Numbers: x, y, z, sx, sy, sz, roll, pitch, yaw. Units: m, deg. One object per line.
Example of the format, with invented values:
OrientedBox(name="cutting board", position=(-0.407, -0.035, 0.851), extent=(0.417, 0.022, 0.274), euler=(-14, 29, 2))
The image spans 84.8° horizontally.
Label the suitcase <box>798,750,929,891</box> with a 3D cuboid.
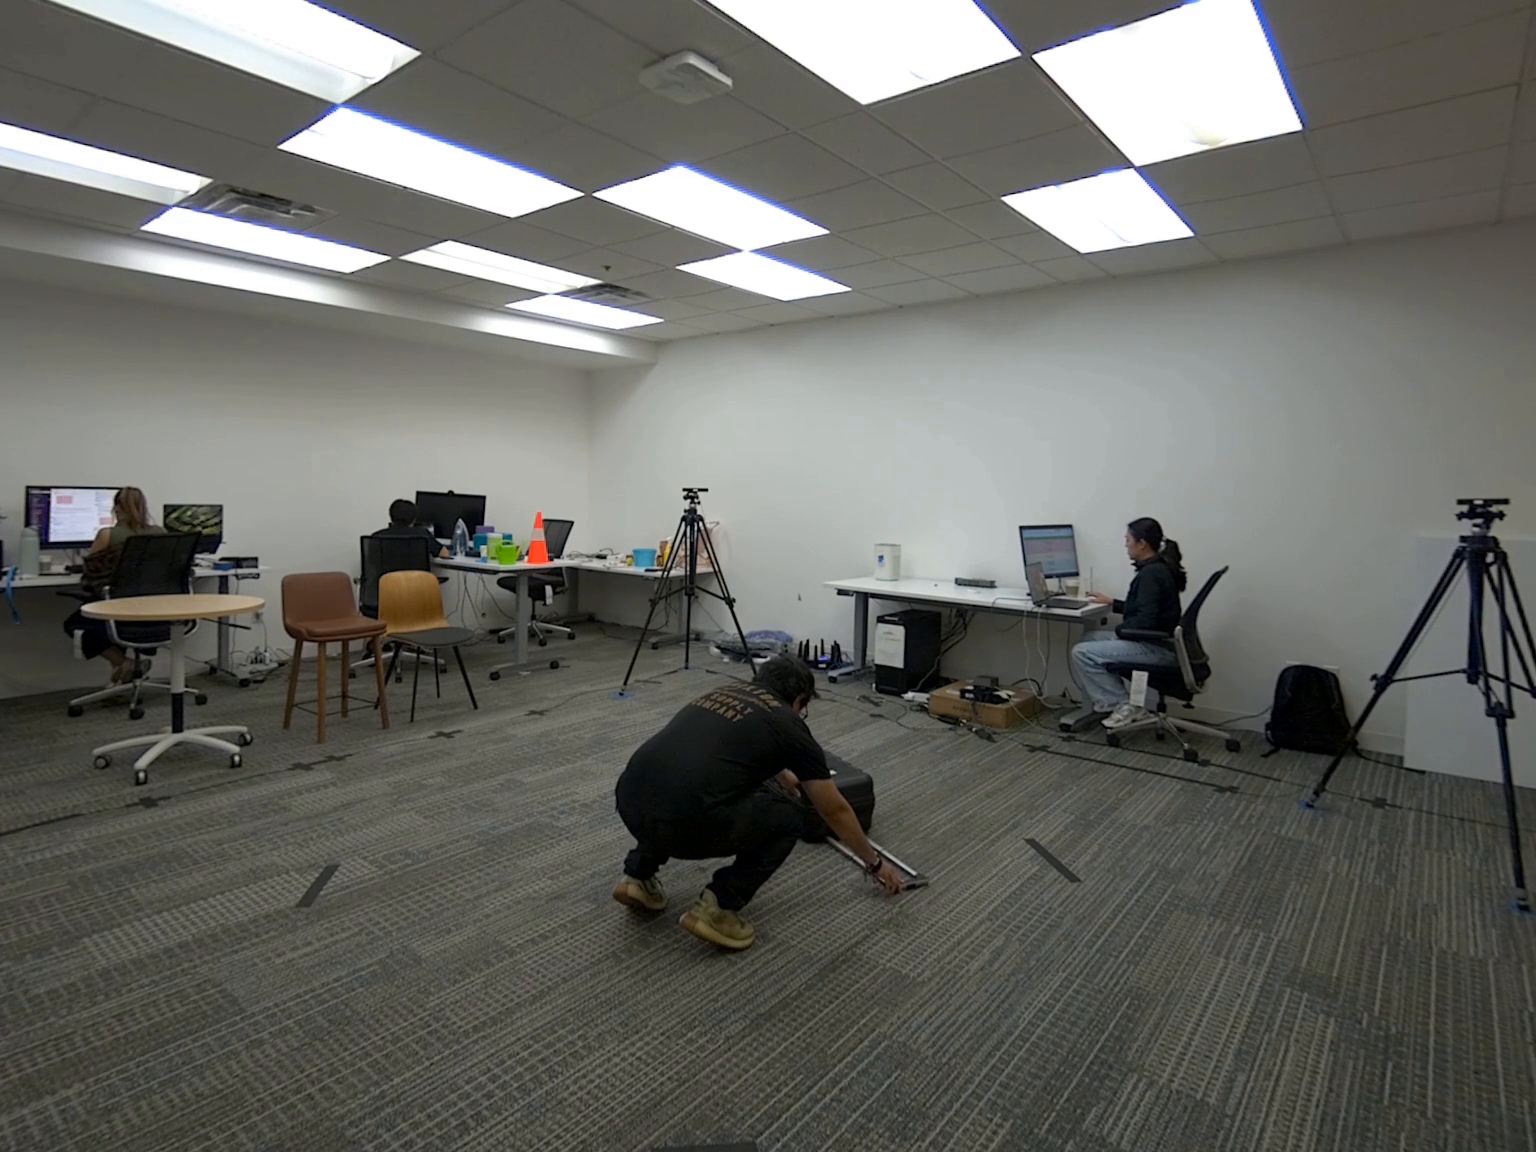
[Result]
OrientedBox(name="suitcase", position=(0.269, 0.919, 3.438), extent=(0.374, 0.256, 1.006), euler=(-1, 4, -27))
